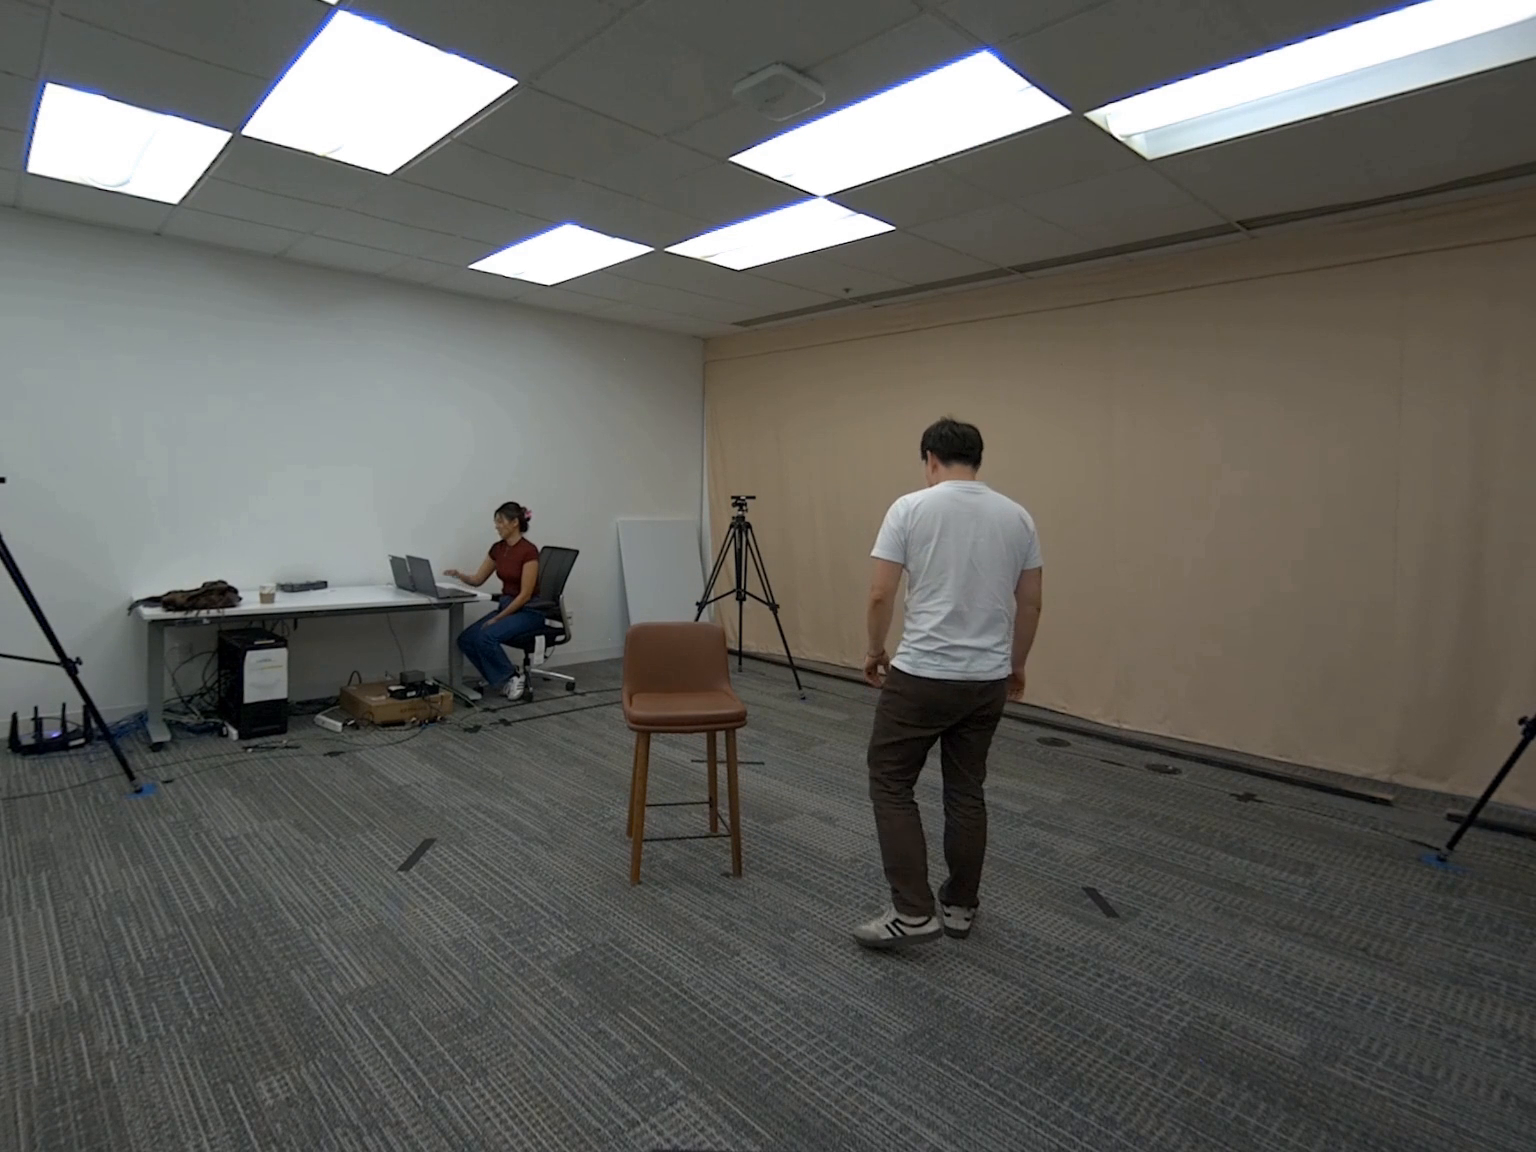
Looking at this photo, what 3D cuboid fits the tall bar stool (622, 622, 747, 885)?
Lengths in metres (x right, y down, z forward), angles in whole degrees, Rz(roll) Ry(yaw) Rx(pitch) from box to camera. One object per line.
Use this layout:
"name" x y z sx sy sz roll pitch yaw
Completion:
"tall bar stool" -0.342 0.649 3.246 0.452 0.889 0.473 1 2 -13
